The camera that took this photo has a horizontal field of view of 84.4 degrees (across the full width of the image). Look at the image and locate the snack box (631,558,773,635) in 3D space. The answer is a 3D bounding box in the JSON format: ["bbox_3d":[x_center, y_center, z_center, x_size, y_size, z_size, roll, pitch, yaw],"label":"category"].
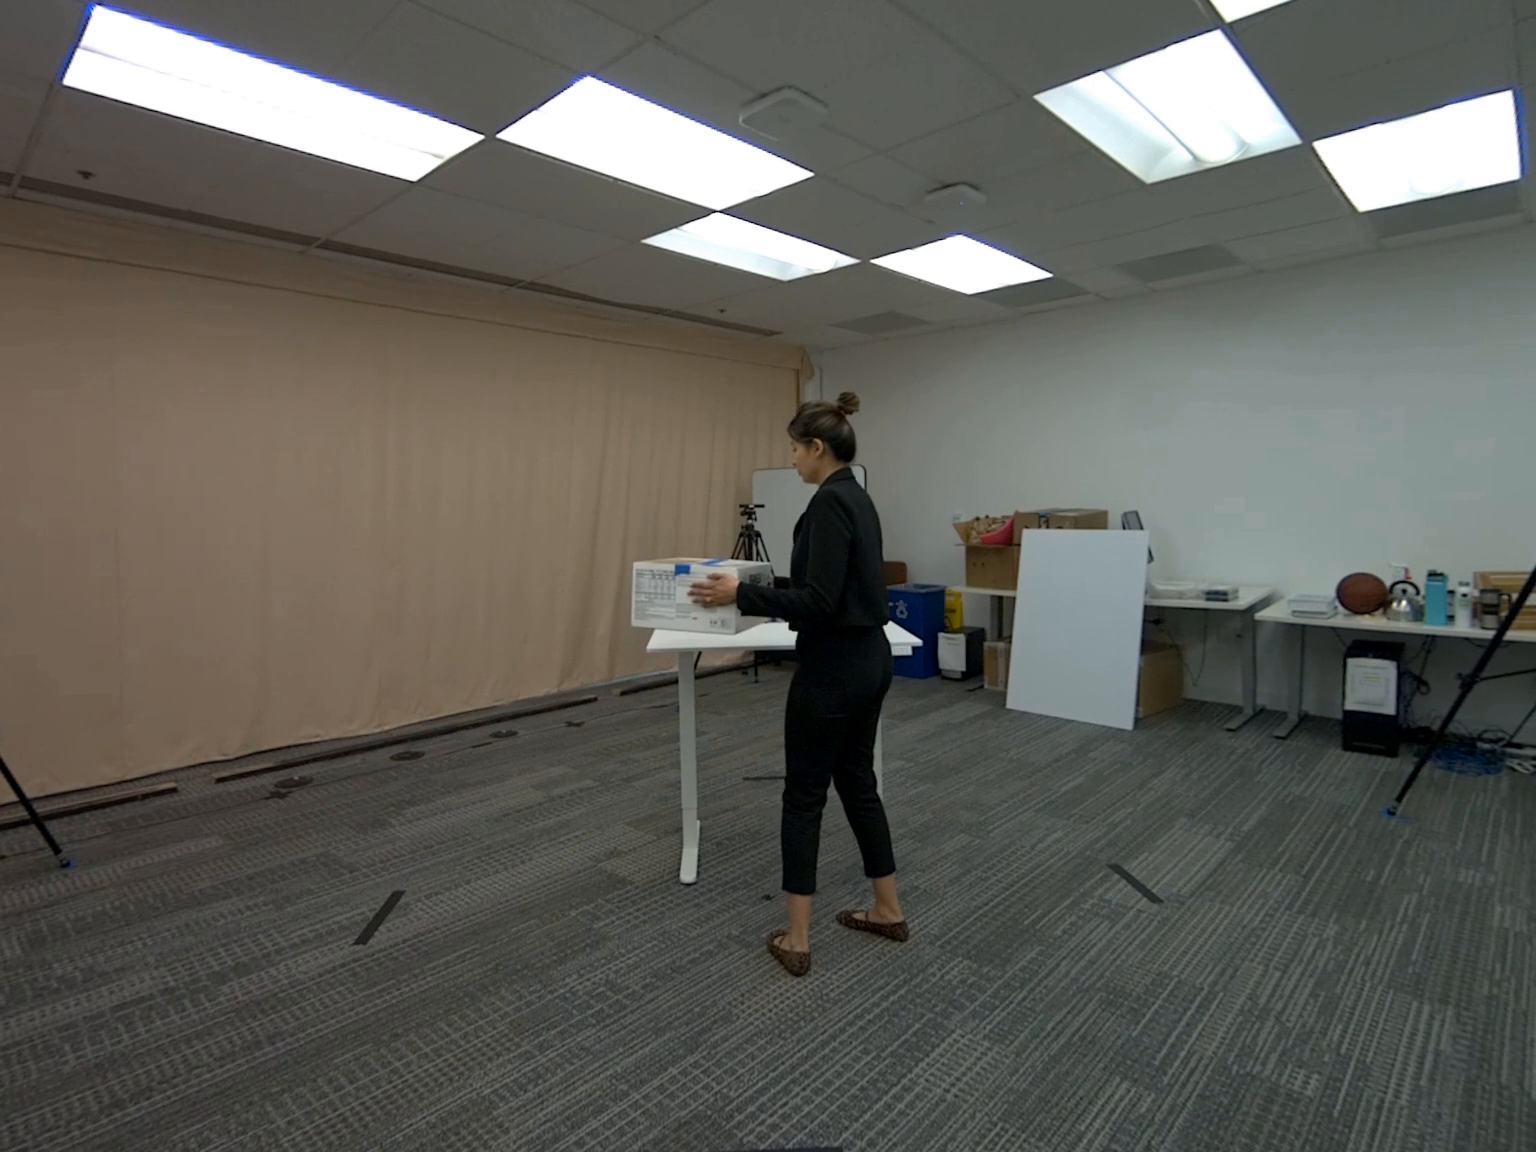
[{"bbox_3d":[-0.196,0.059,2.723,0.347,0.205,0.398,2,3,16],"label":"snack box"}]
